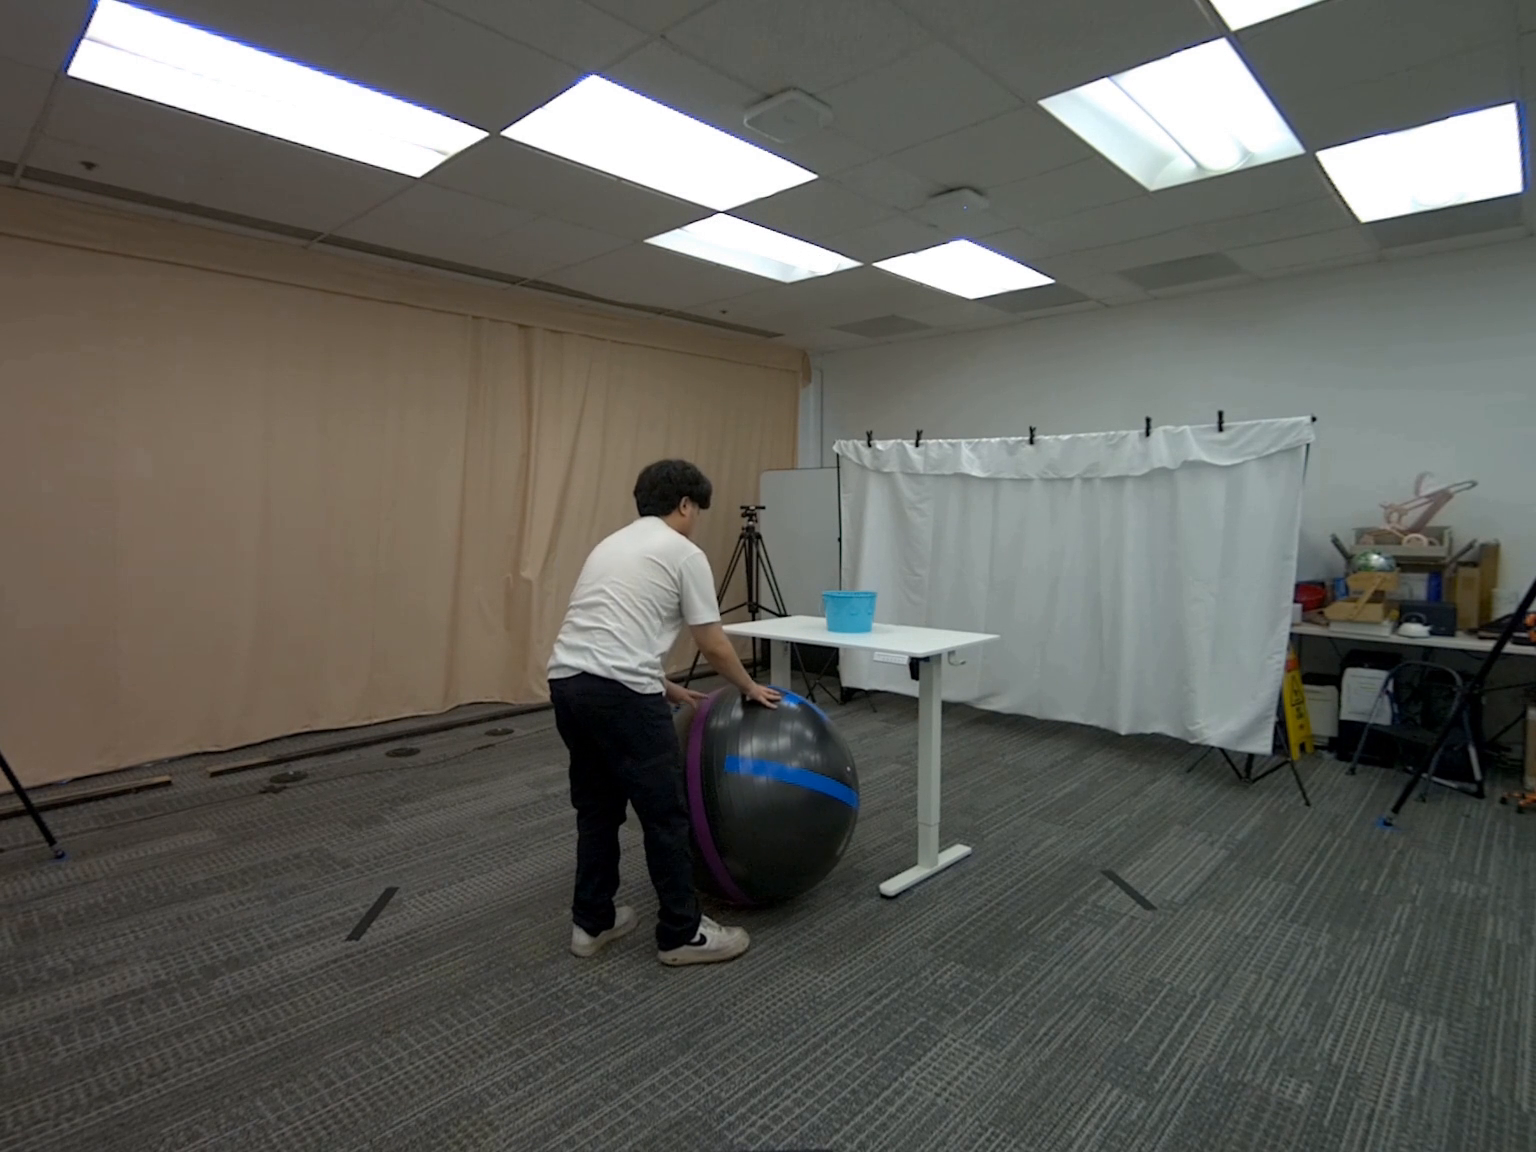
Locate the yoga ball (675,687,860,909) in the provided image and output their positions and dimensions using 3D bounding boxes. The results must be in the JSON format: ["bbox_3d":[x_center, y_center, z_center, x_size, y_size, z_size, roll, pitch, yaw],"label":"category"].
[{"bbox_3d":[-0.051,0.782,3.022,0.757,0.756,0.760,0,4,-2],"label":"yoga ball"}]
